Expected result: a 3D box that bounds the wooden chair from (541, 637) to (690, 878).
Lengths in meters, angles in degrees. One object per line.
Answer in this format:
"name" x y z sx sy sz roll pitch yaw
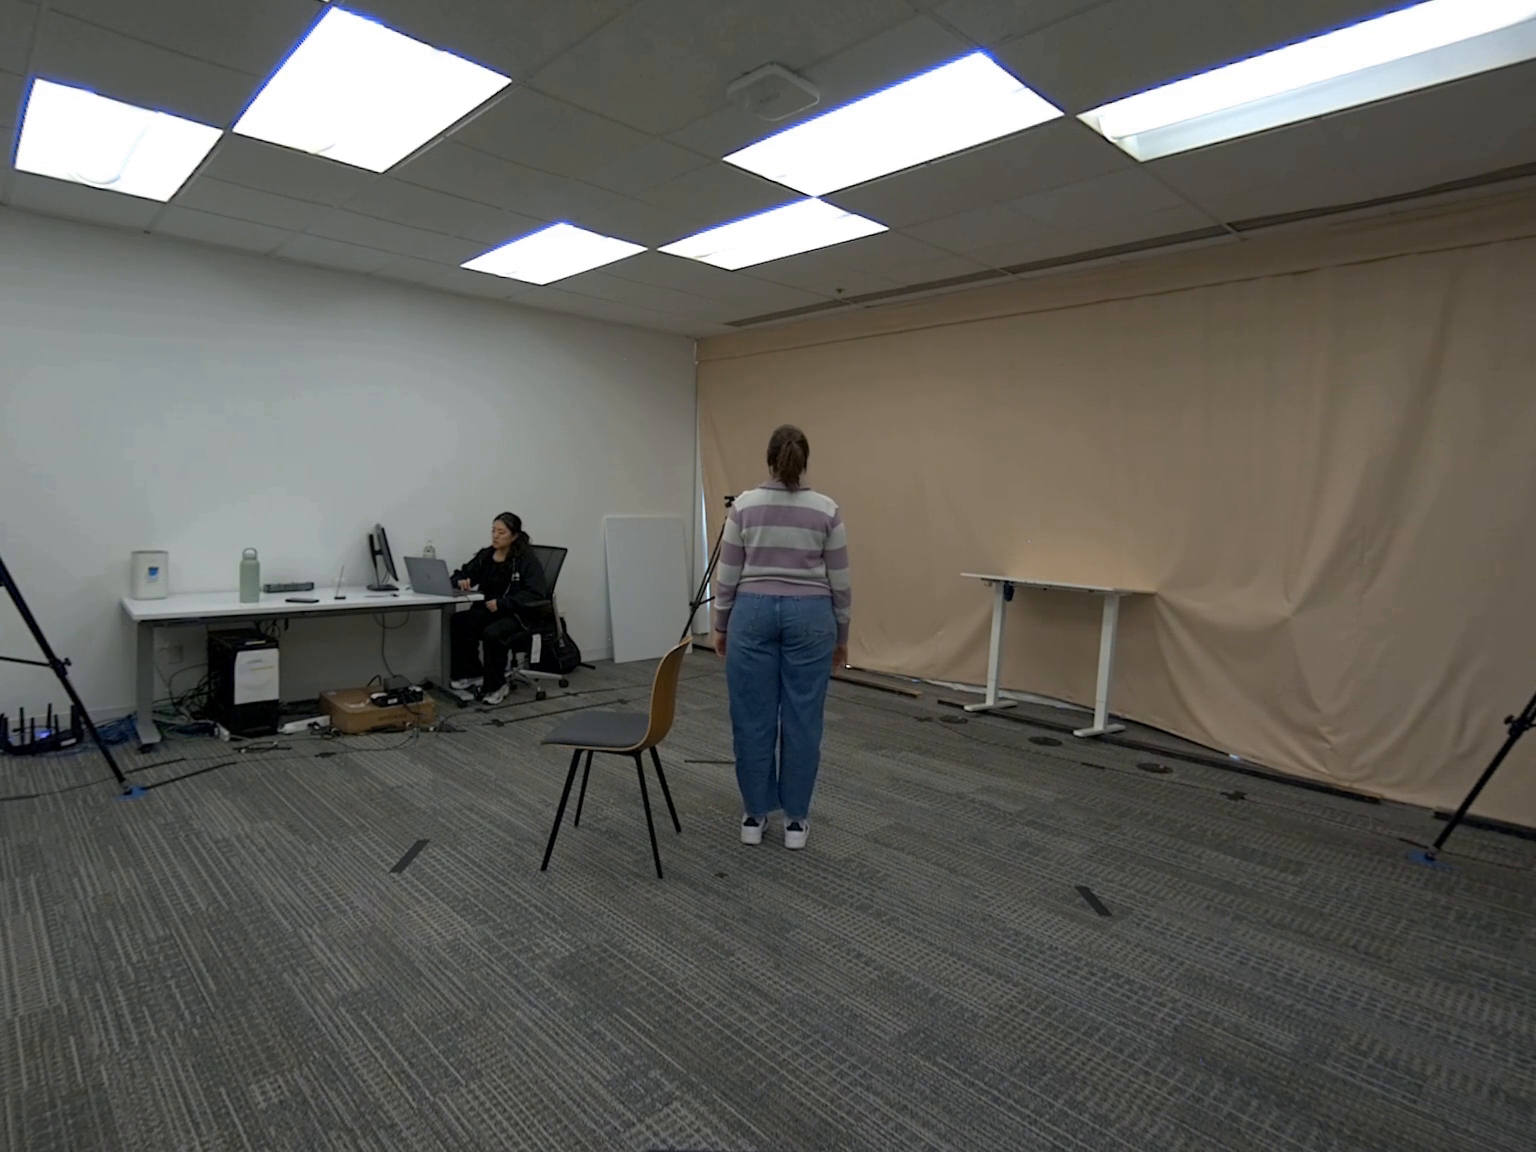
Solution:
"wooden chair" -0.601 0.651 3.261 0.525 0.875 0.478 5 4 3
